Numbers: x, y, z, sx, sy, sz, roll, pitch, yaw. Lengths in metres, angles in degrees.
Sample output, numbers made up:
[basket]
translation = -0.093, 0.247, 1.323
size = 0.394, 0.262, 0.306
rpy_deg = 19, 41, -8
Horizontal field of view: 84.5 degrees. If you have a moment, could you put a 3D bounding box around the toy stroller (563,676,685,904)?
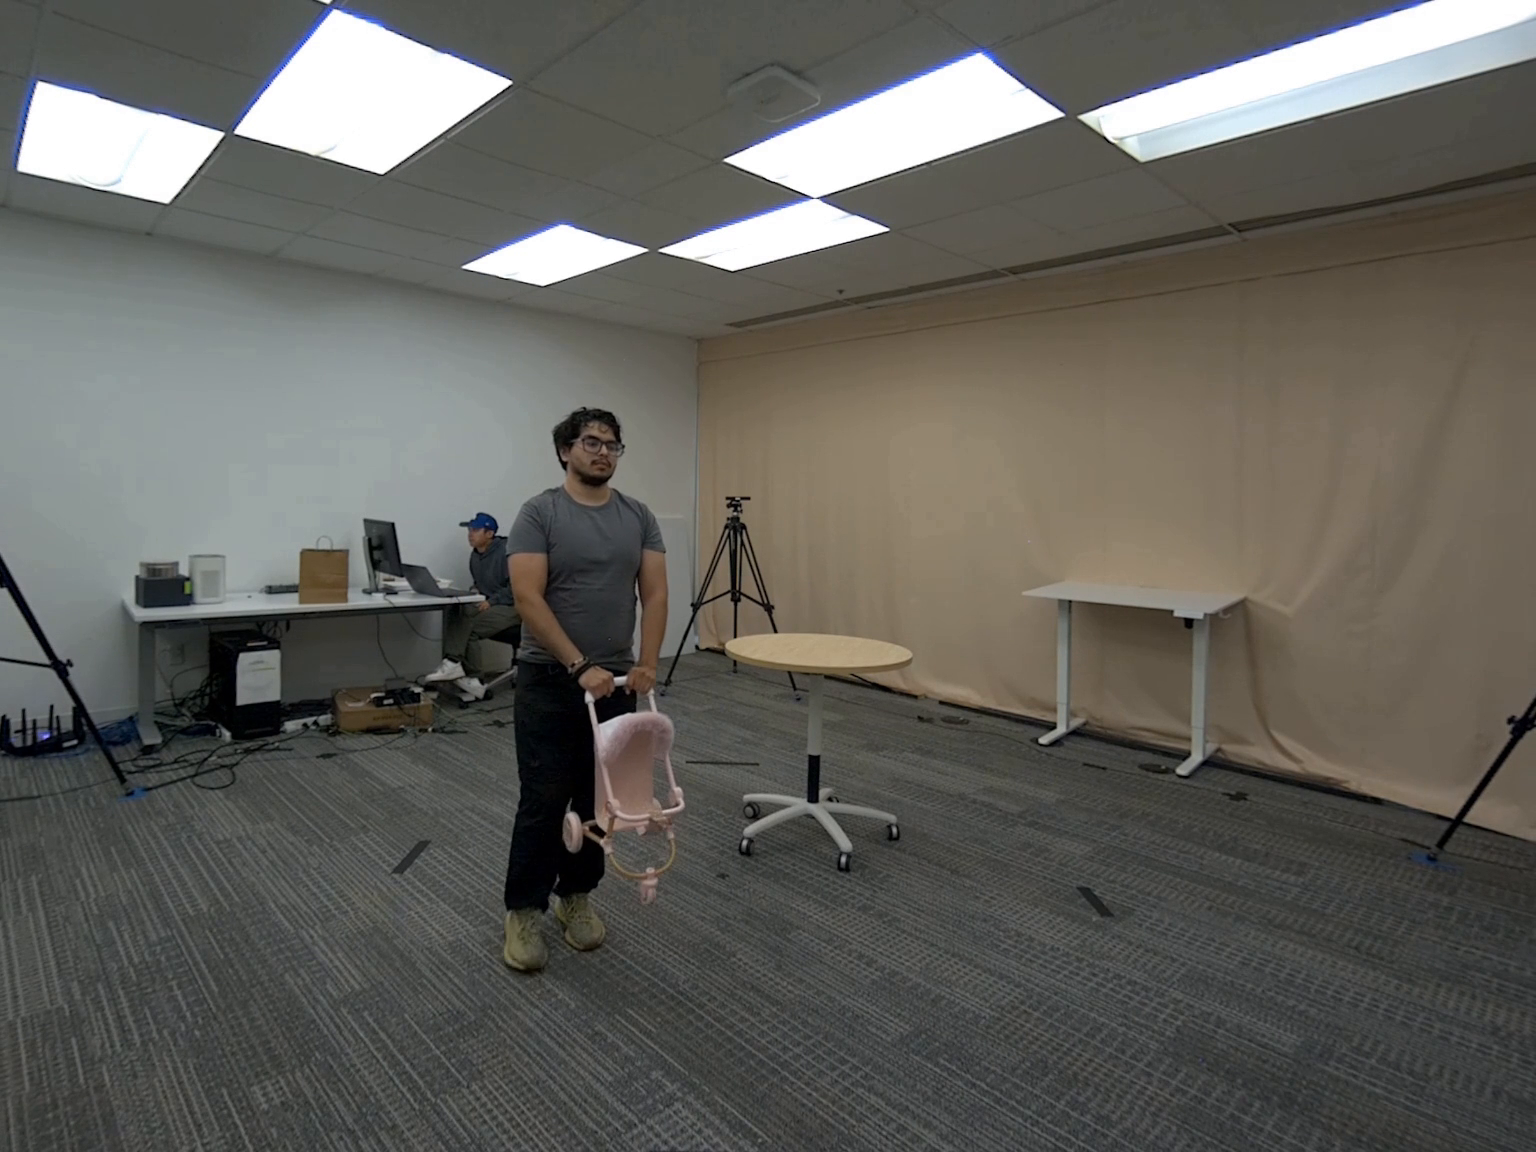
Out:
[toy stroller]
translation = -0.380, 0.588, 2.321
size = 0.275, 0.532, 0.350
rpy_deg = 2, 8, -30
